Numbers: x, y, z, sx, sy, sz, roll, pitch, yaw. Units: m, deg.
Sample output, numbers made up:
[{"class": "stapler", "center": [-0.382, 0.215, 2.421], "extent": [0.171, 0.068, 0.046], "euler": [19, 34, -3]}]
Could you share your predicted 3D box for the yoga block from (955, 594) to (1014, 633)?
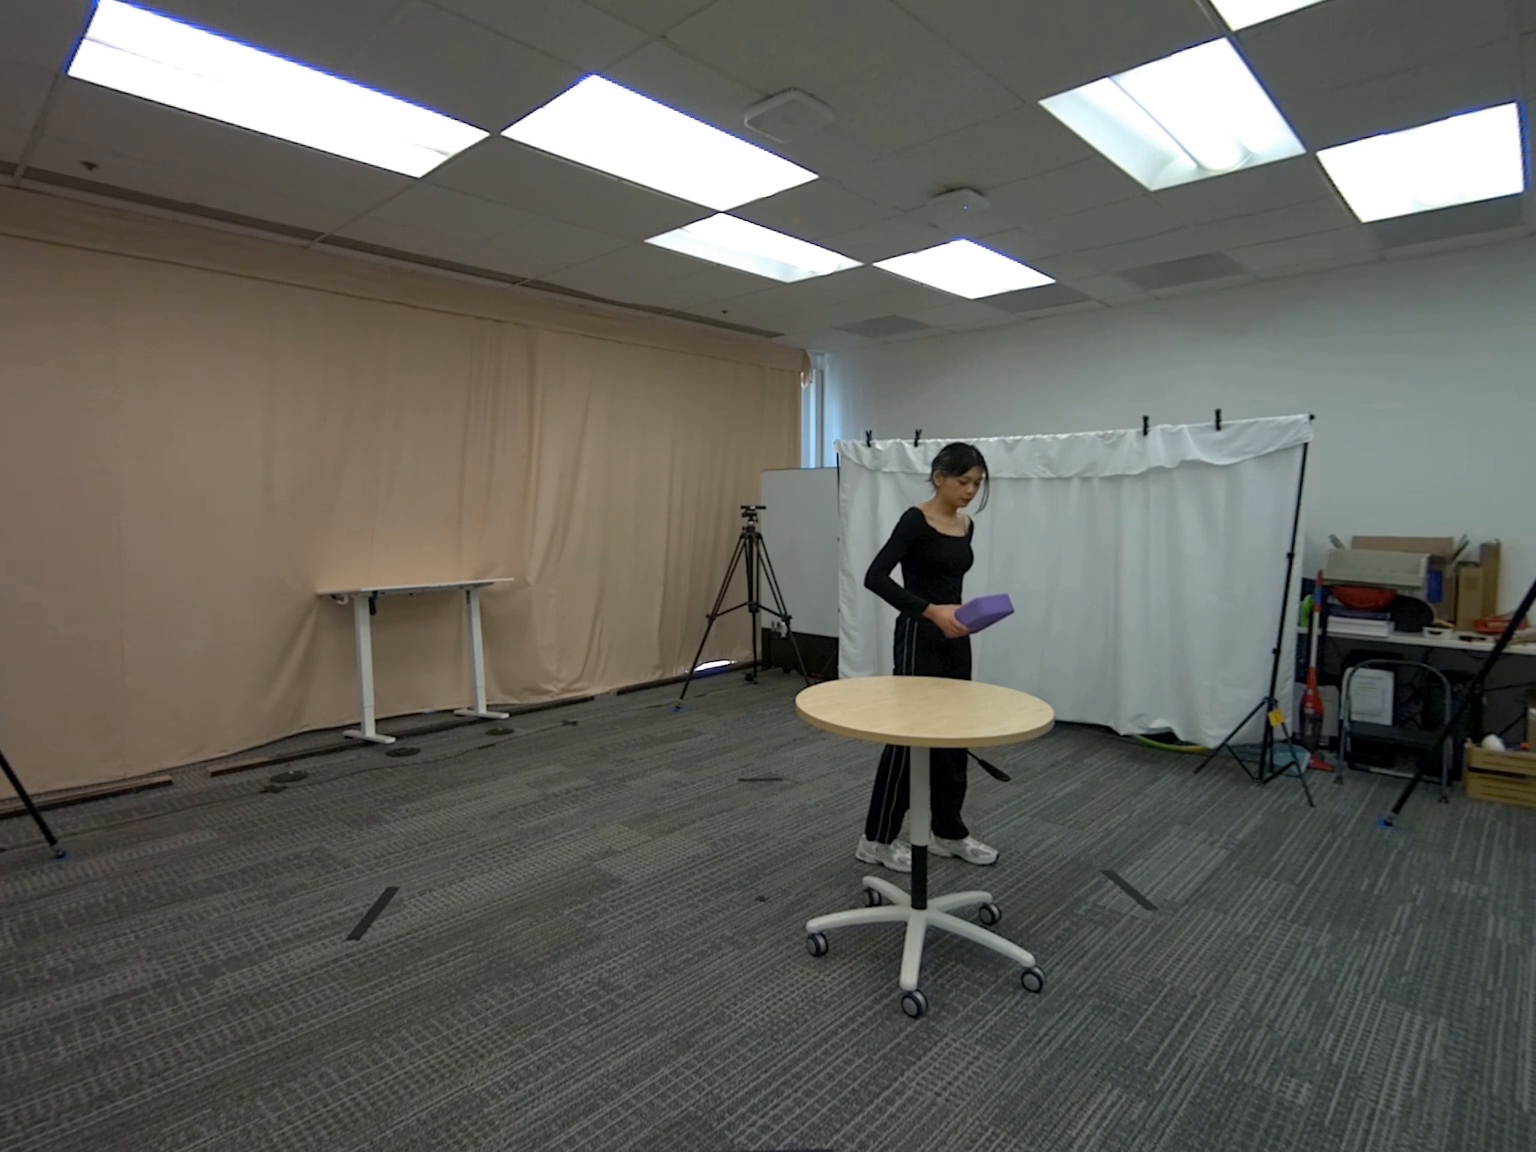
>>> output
[{"class": "yoga block", "center": [0.730, 0.141, 2.995], "extent": [0.145, 0.078, 0.231], "euler": [-6, -20, -27]}]
